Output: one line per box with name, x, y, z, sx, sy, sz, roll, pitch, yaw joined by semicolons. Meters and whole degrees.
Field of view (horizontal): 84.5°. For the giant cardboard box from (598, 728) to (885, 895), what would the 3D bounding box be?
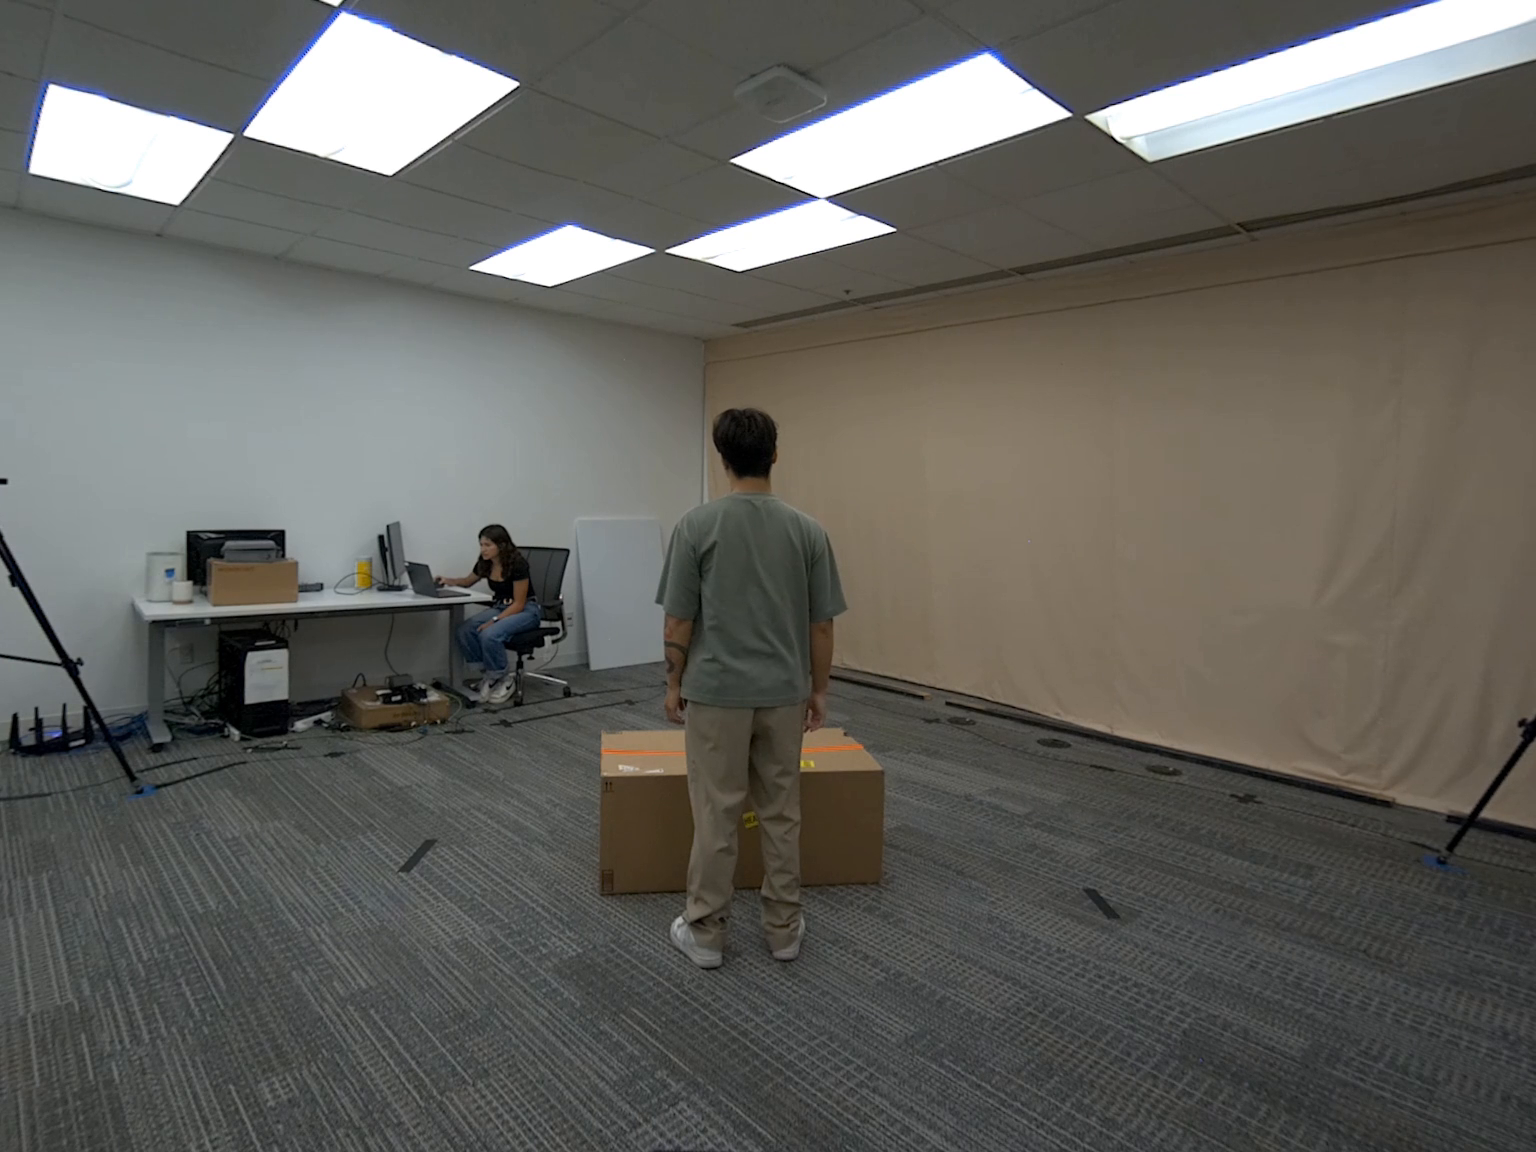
giant cardboard box;-0.142;0.877;3.270;1.018;0.425;0.583;1;5;-9
